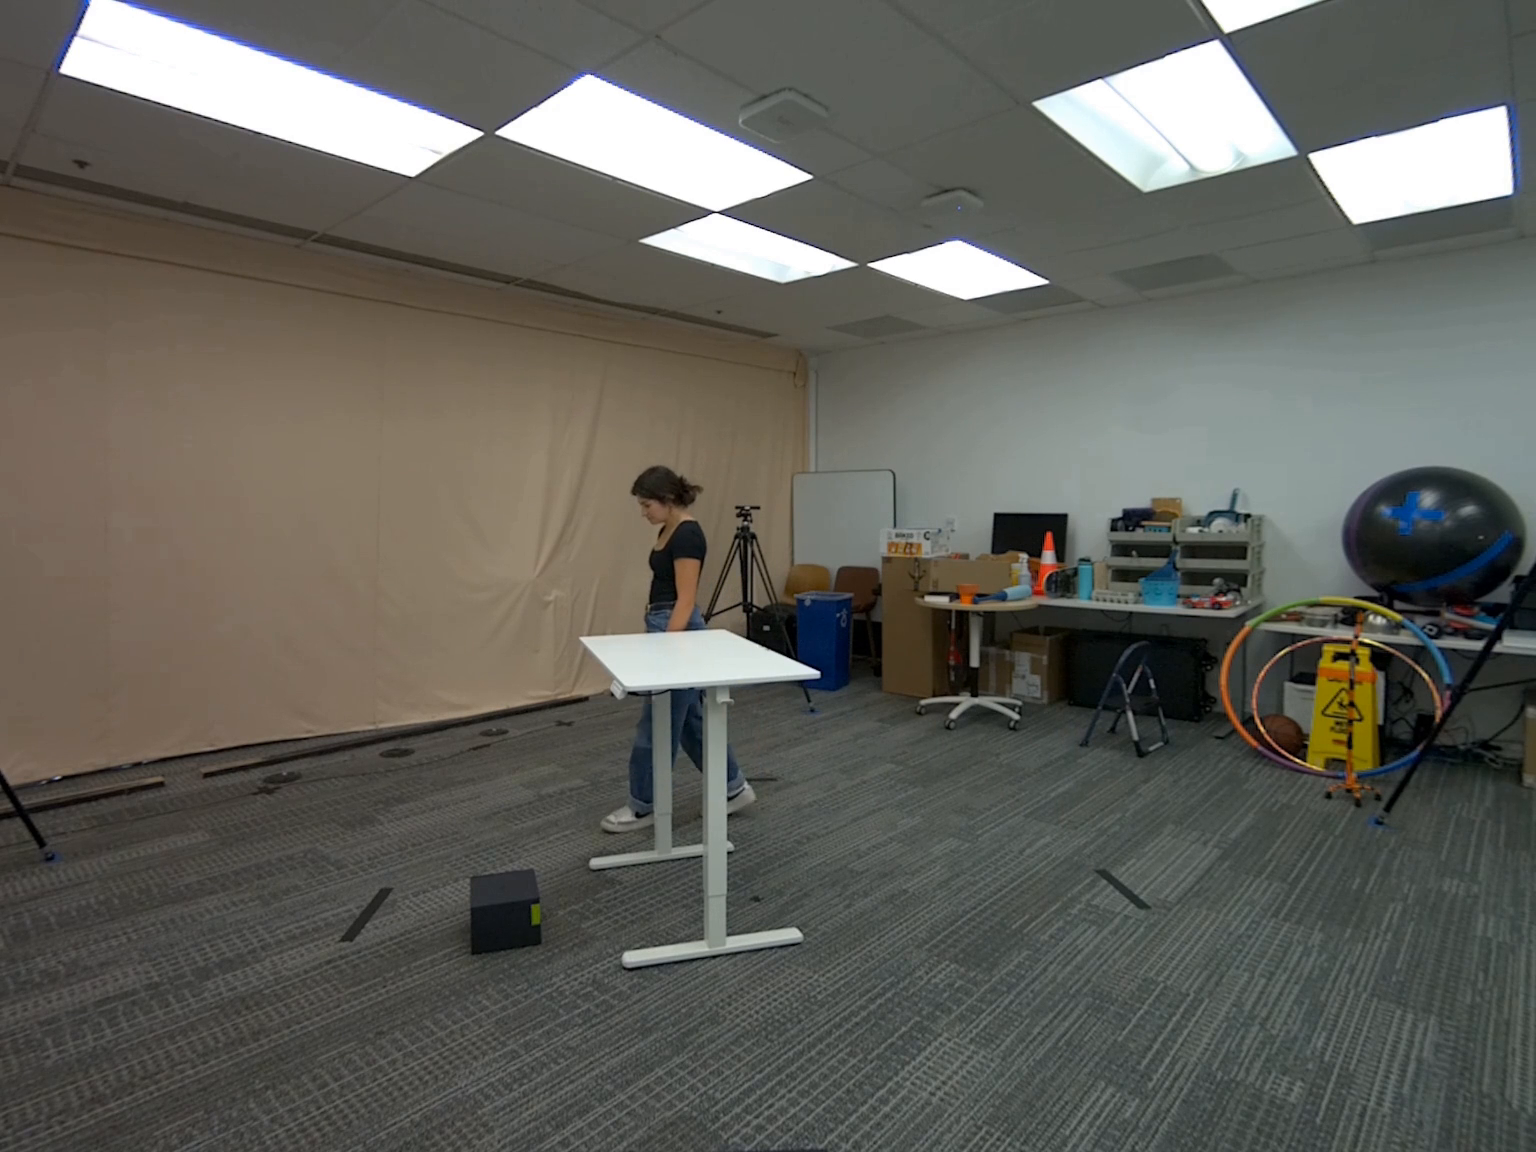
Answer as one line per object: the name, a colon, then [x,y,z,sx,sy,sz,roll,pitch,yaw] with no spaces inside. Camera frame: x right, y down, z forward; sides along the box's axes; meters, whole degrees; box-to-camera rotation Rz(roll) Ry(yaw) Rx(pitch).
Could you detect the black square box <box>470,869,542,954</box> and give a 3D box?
black square box: [-0.862,1.088,2.746,0.213,0.155,0.233,-2,4,-19]
